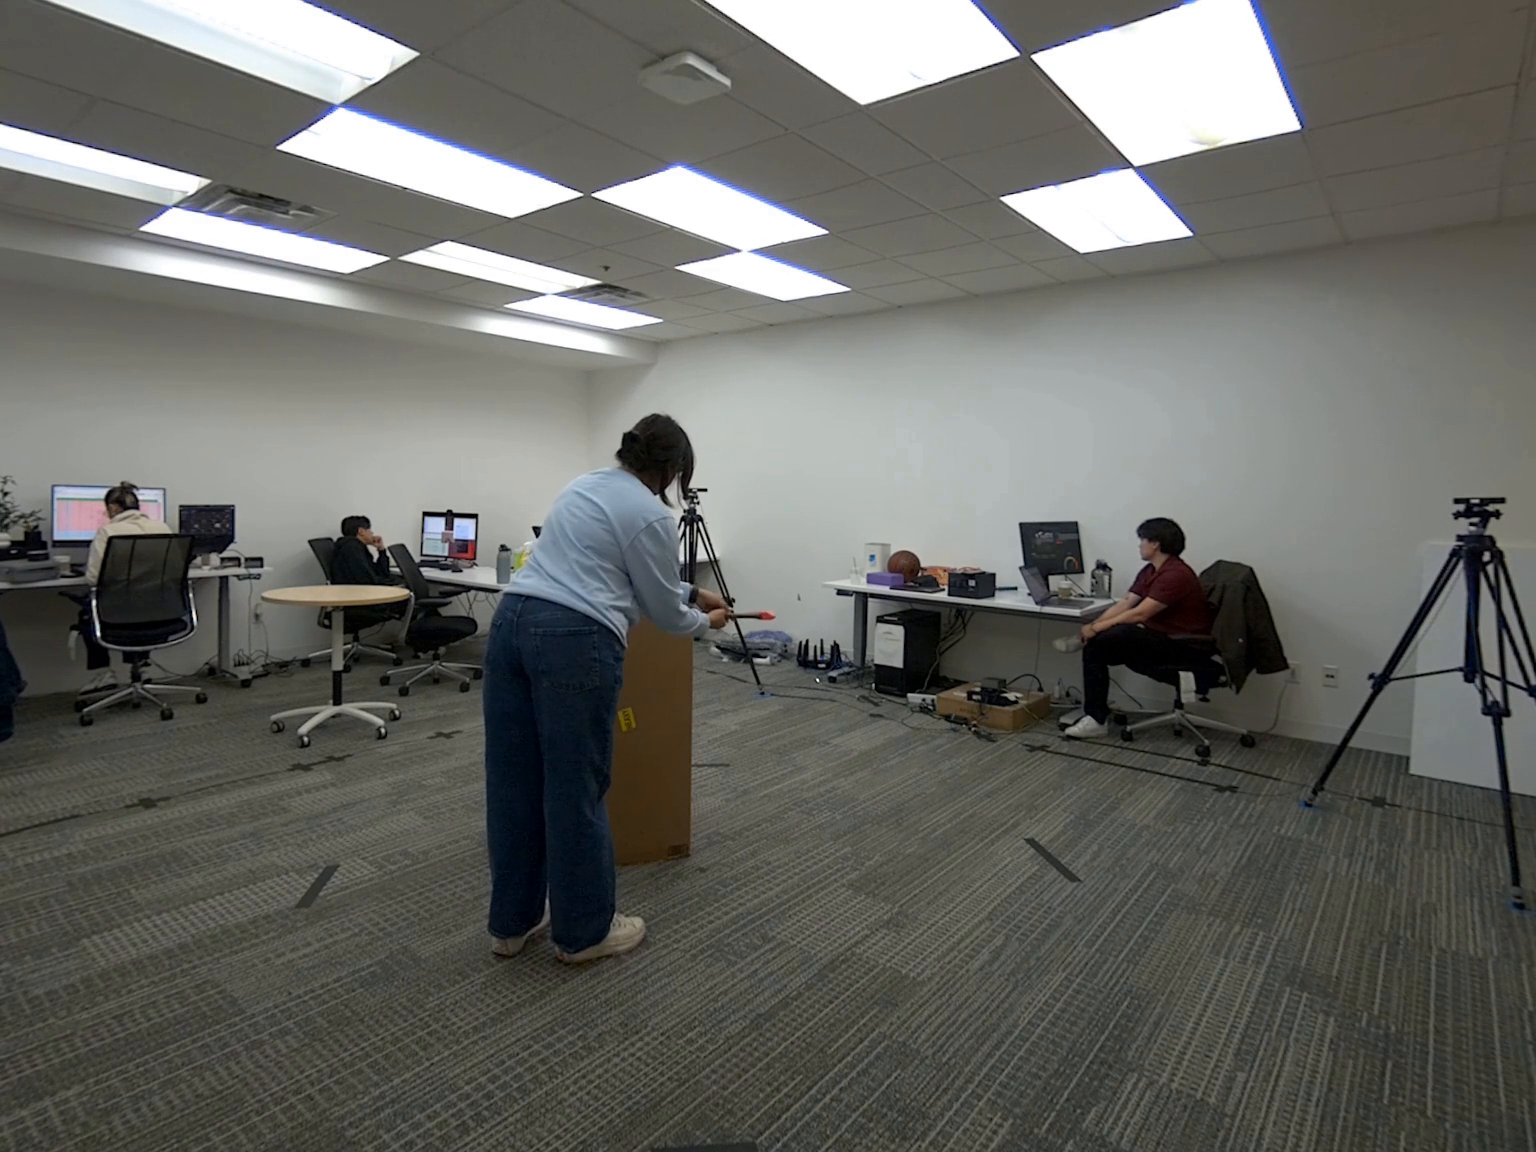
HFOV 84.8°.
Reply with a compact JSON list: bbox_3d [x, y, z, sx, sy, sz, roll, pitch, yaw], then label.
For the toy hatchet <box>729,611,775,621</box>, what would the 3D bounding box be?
[{"bbox_3d":[-0.130,0.135,2.891,0.264,0.029,0.134,0,2,-23],"label":"toy hatchet"}]
